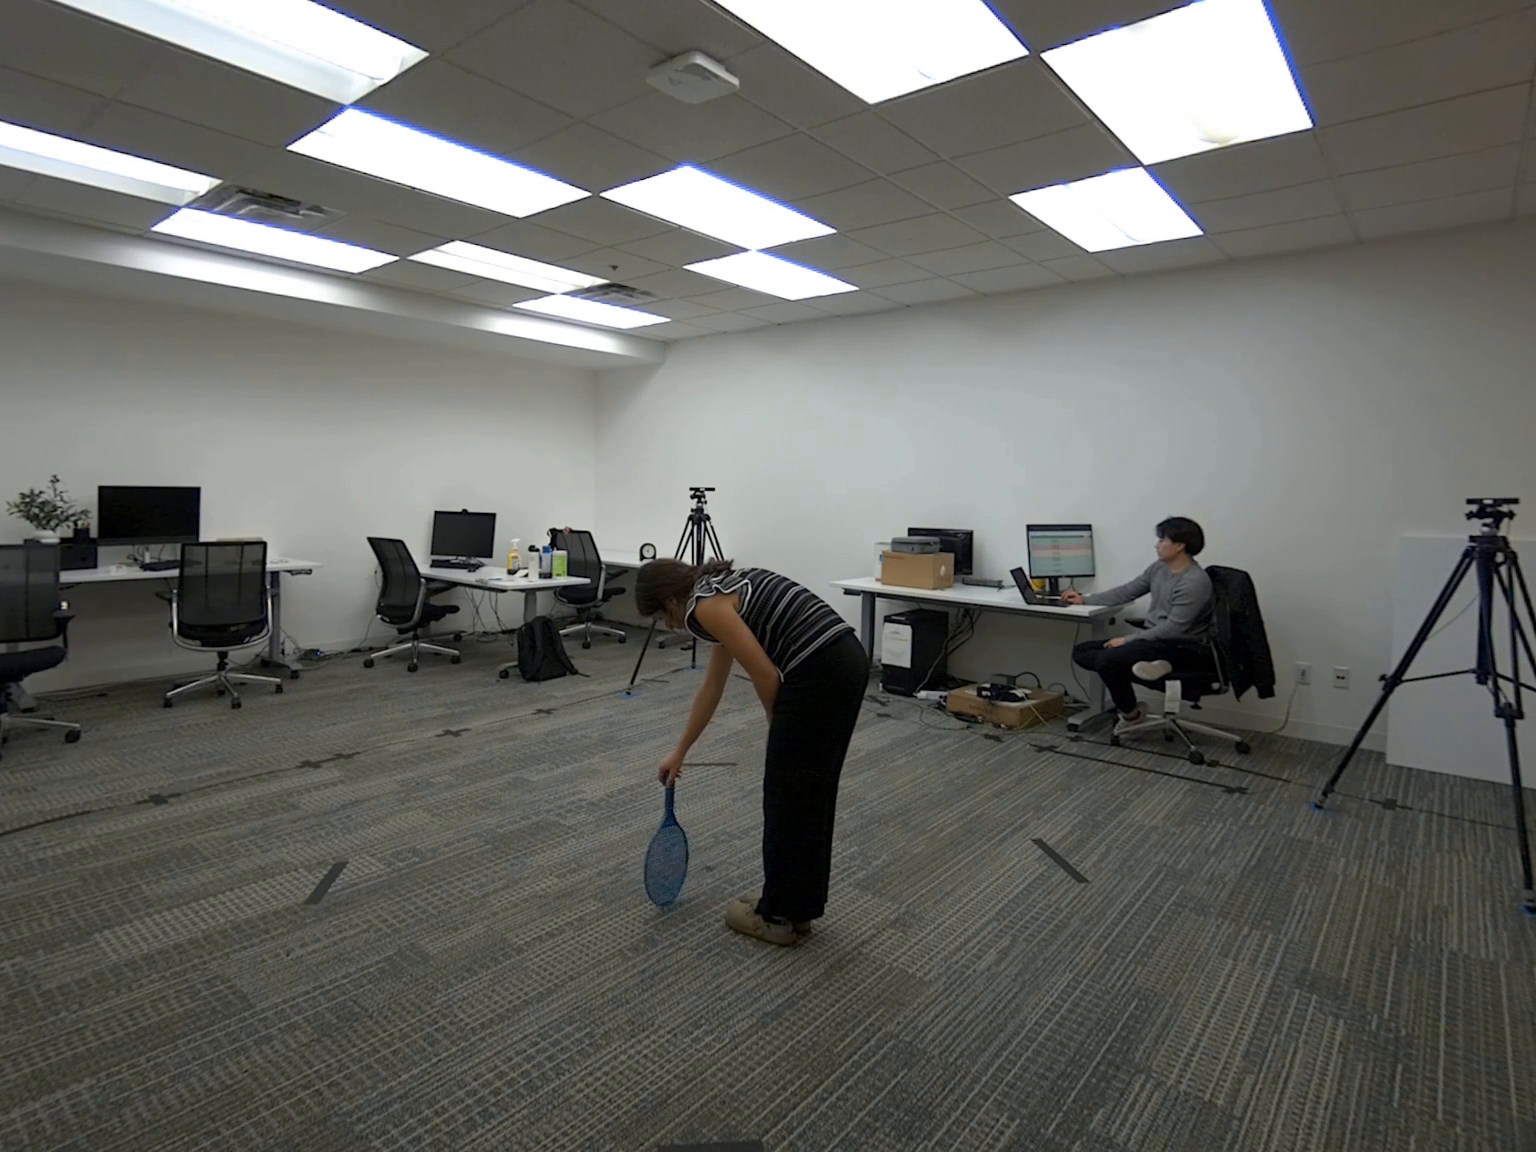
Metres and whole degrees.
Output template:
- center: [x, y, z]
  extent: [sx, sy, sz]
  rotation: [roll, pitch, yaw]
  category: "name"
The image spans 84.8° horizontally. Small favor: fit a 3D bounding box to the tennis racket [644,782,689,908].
- center: [-0.348, 0.879, 2.838]
  extent: [0.032, 0.435, 0.208]
  rotation: [0, -5, 20]
  category: "tennis racket"
